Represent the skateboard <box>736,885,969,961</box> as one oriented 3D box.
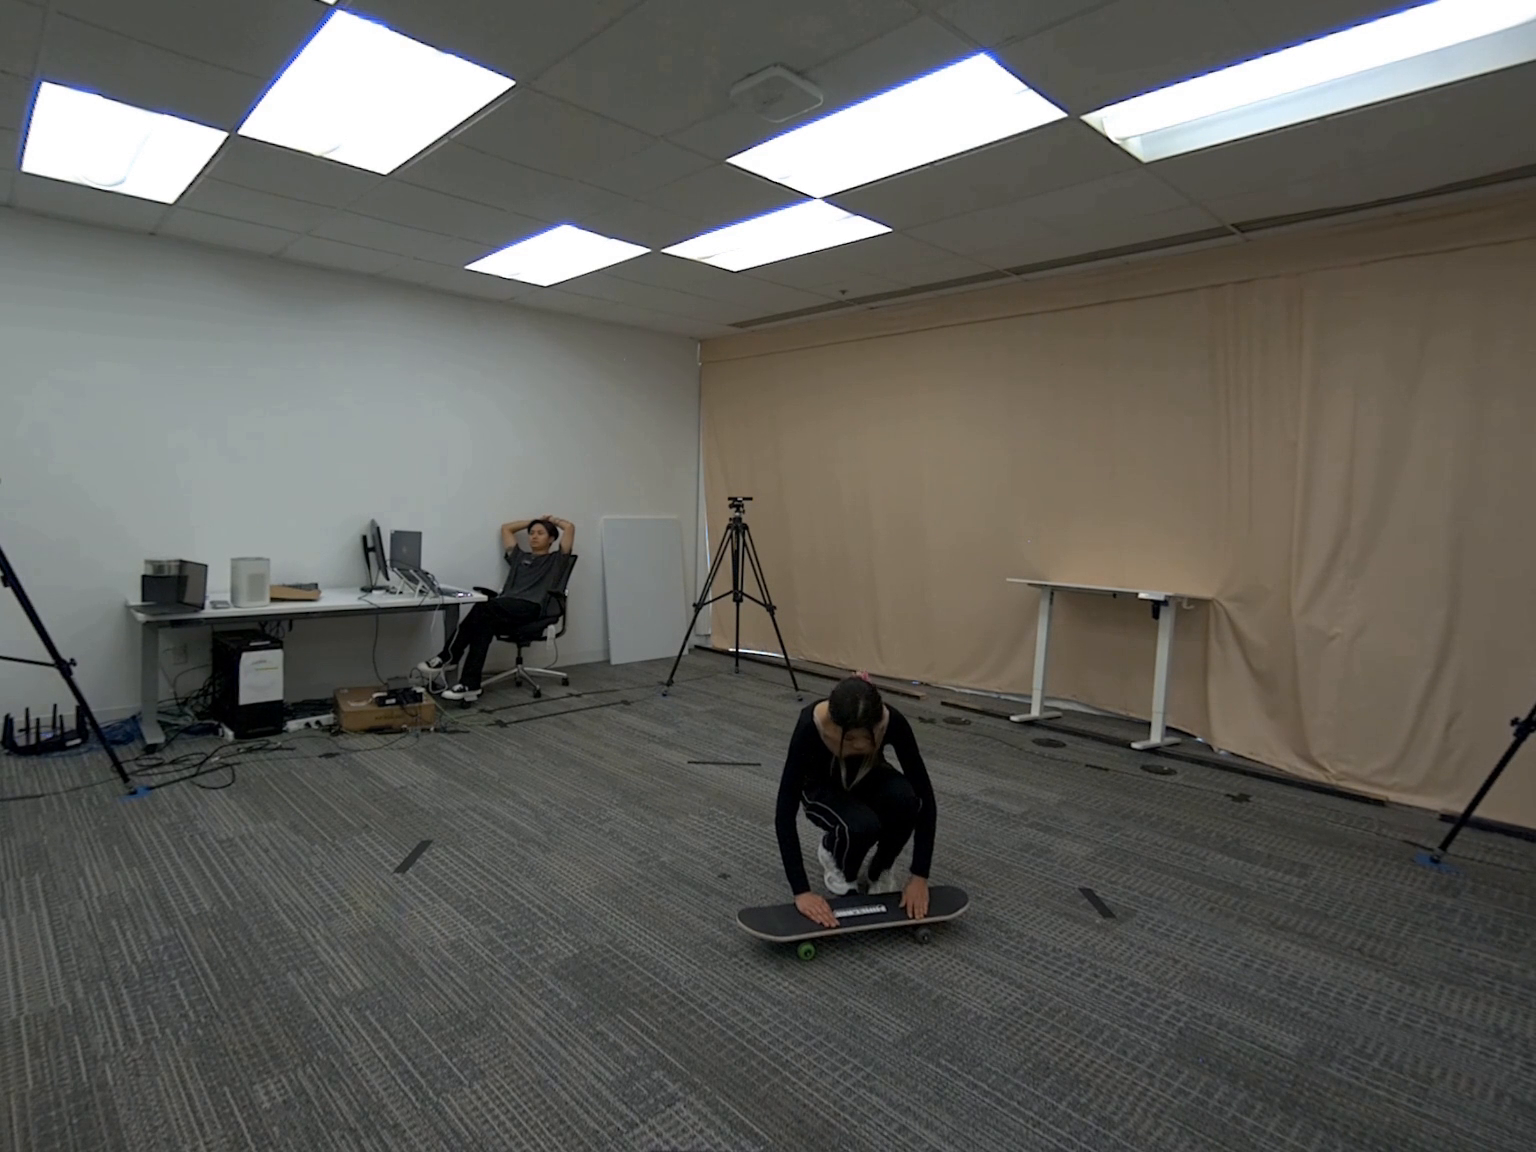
[{"bbox_3d":[0.270,1.100,2.680,0.775,0.110,0.196,0,5,-17],"label":"skateboard"}]
